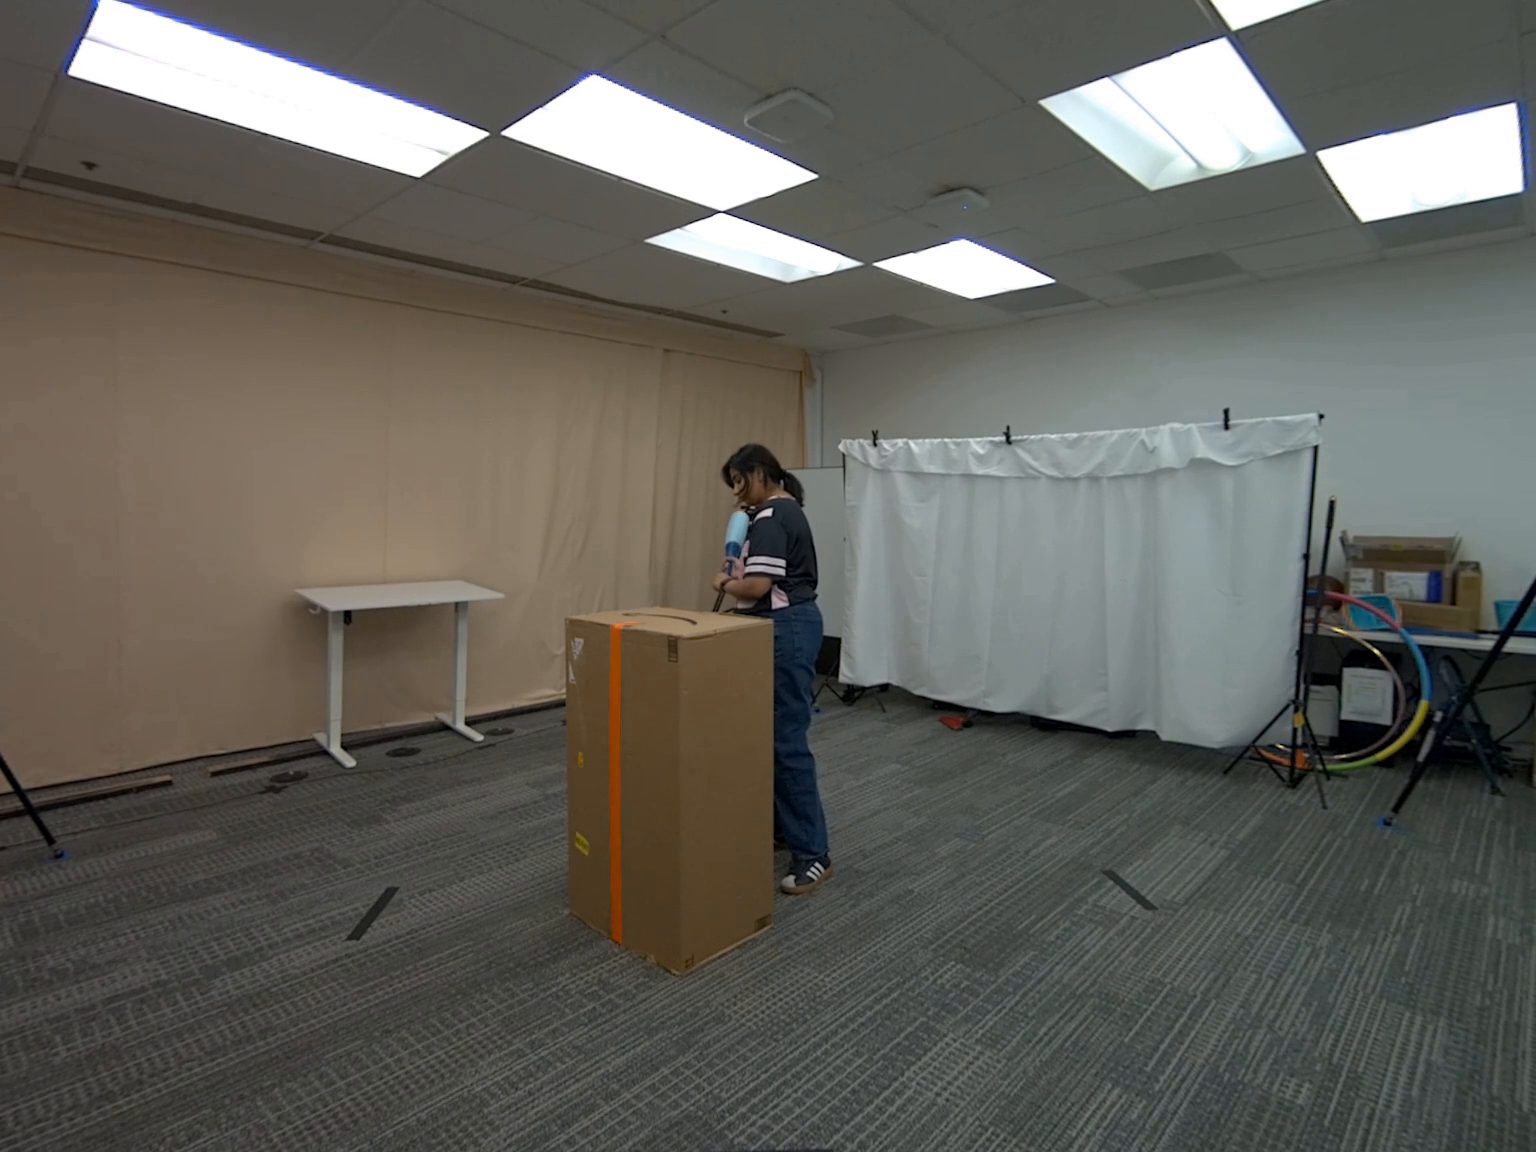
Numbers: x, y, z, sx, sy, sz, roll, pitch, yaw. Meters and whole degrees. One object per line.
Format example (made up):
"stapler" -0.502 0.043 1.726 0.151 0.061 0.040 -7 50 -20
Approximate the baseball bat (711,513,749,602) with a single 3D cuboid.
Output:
"baseball bat" -0.157 -0.093 3.693 0.090 0.087 0.549 0 36 7
